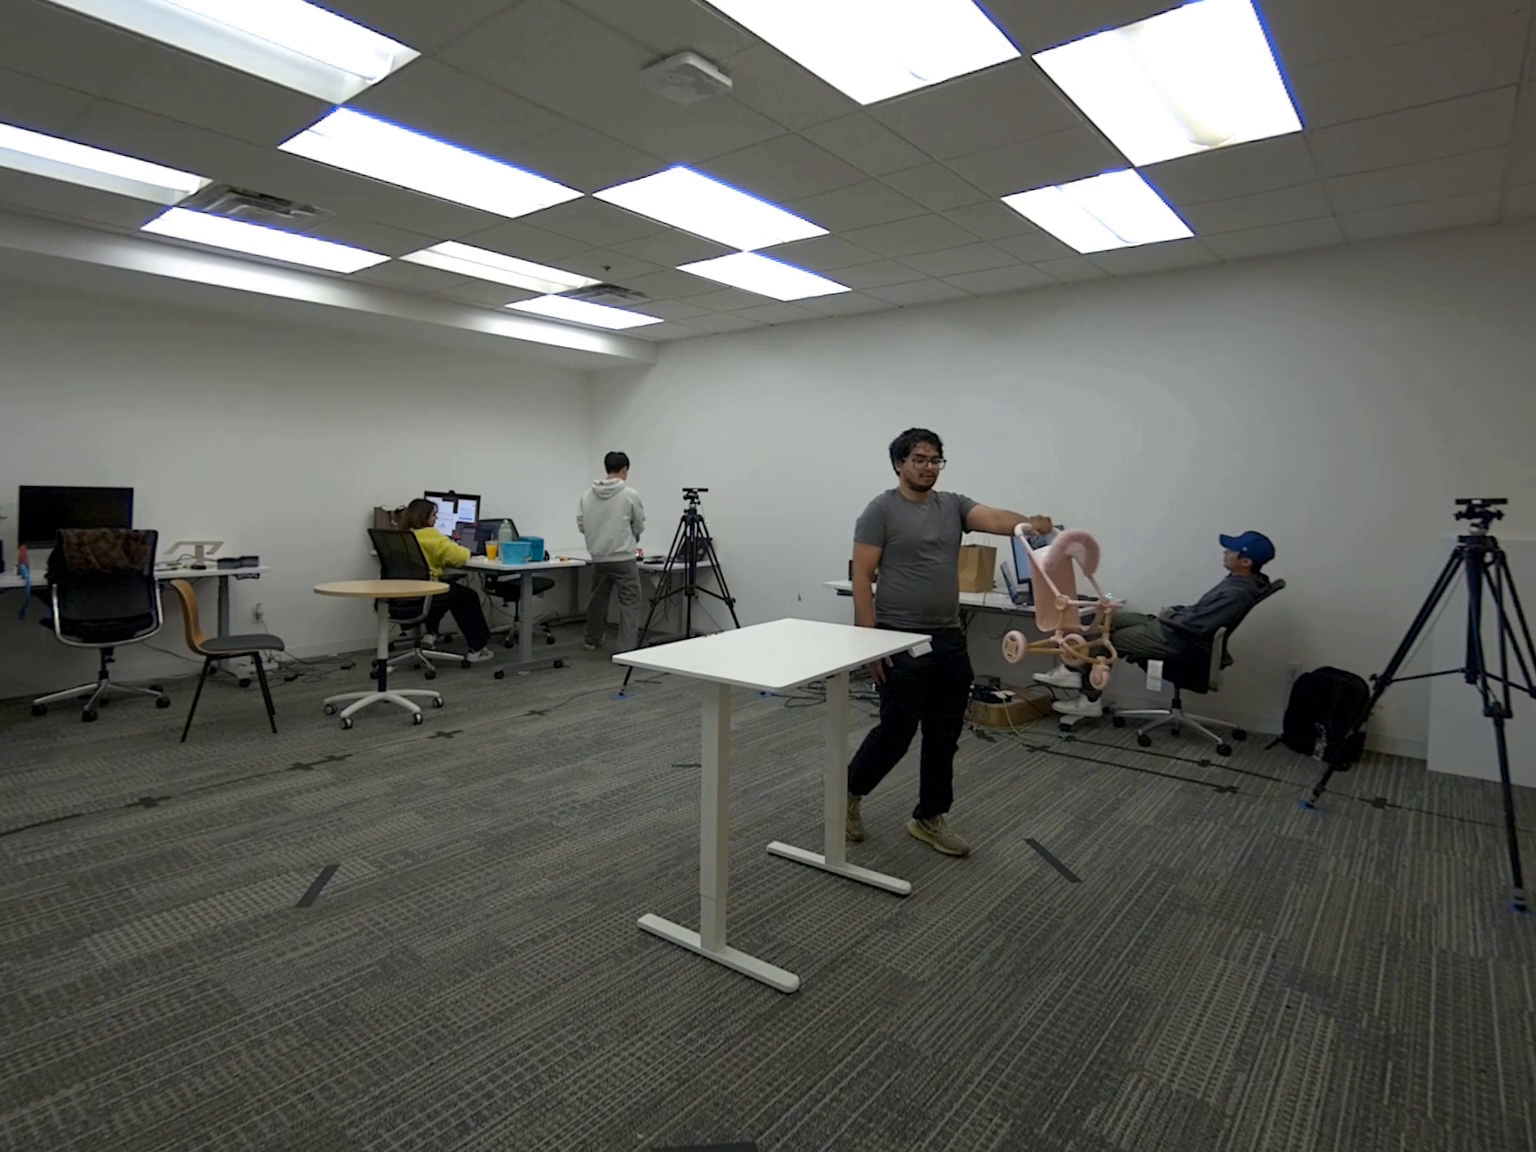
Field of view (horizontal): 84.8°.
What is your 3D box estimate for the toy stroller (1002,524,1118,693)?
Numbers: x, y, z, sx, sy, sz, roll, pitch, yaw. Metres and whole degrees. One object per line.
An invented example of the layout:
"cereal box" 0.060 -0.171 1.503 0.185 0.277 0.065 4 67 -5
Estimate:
"toy stroller" 0.964 0.084 2.747 0.276 0.538 0.346 5 -6 -19
